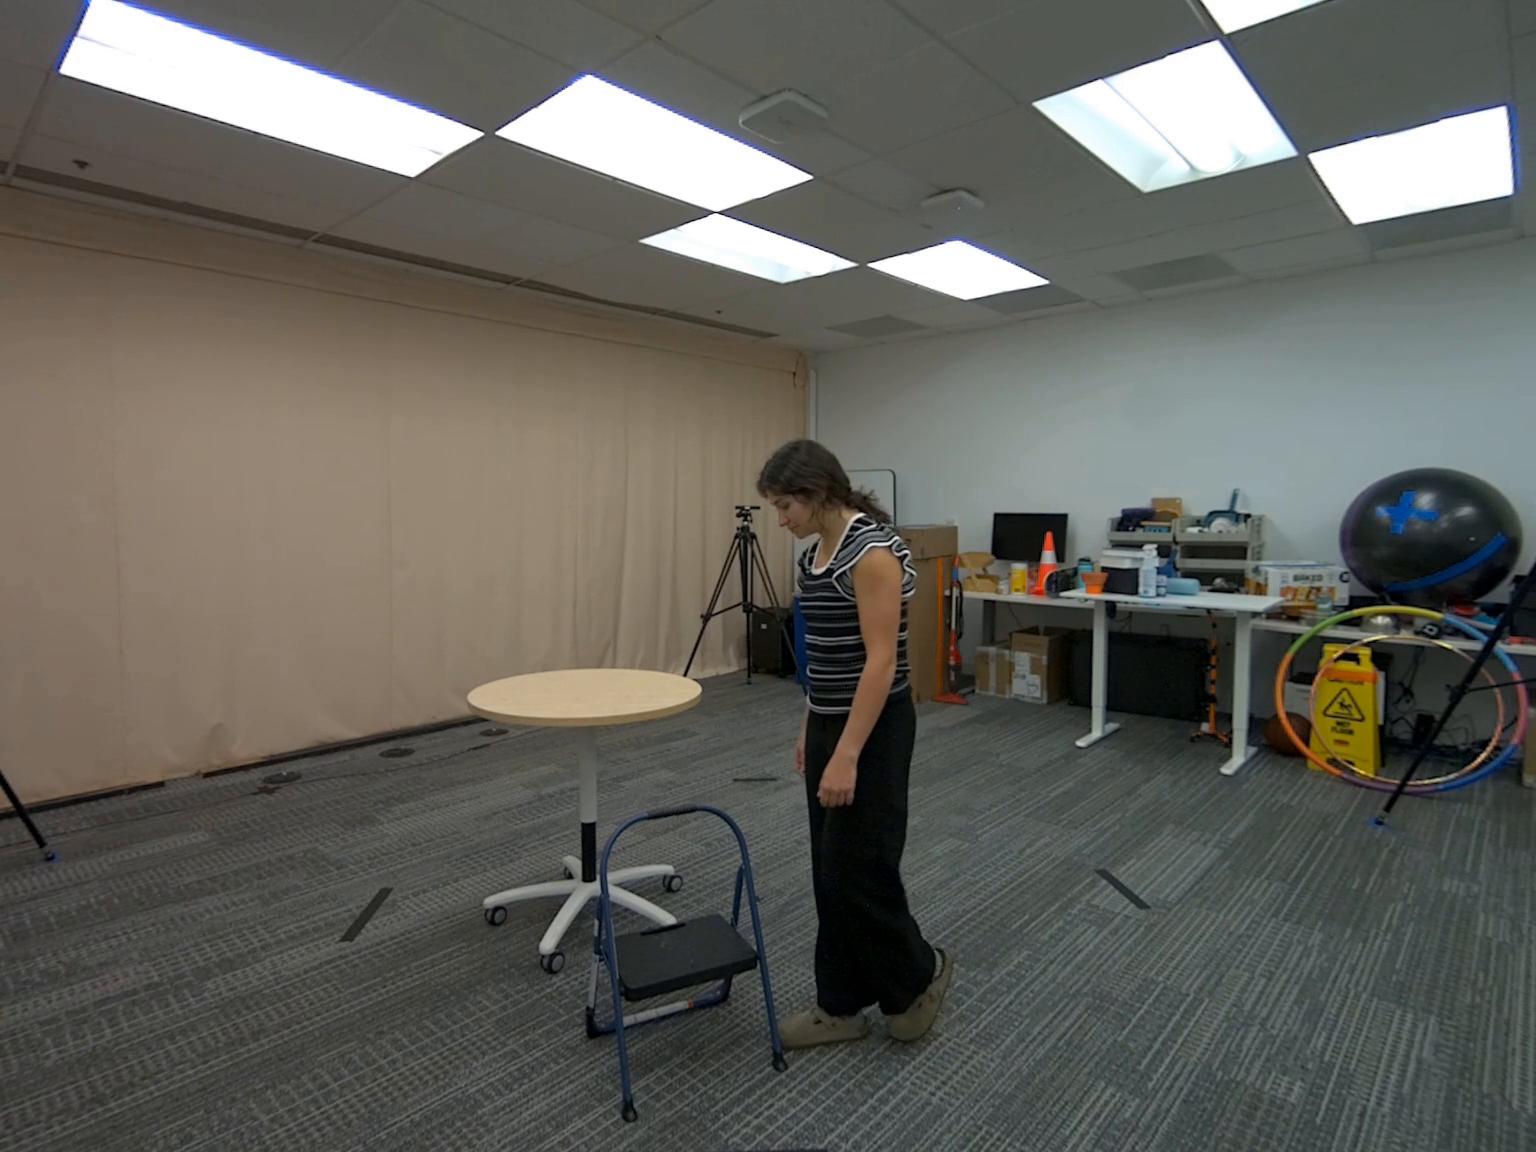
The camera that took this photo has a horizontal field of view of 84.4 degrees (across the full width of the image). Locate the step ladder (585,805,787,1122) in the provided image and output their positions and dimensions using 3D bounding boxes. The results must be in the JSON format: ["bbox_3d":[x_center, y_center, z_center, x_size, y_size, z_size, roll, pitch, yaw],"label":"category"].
[{"bbox_3d":[-0.218,0.919,2.132,0.420,0.605,0.359,-2,4,-27],"label":"step ladder"}]
